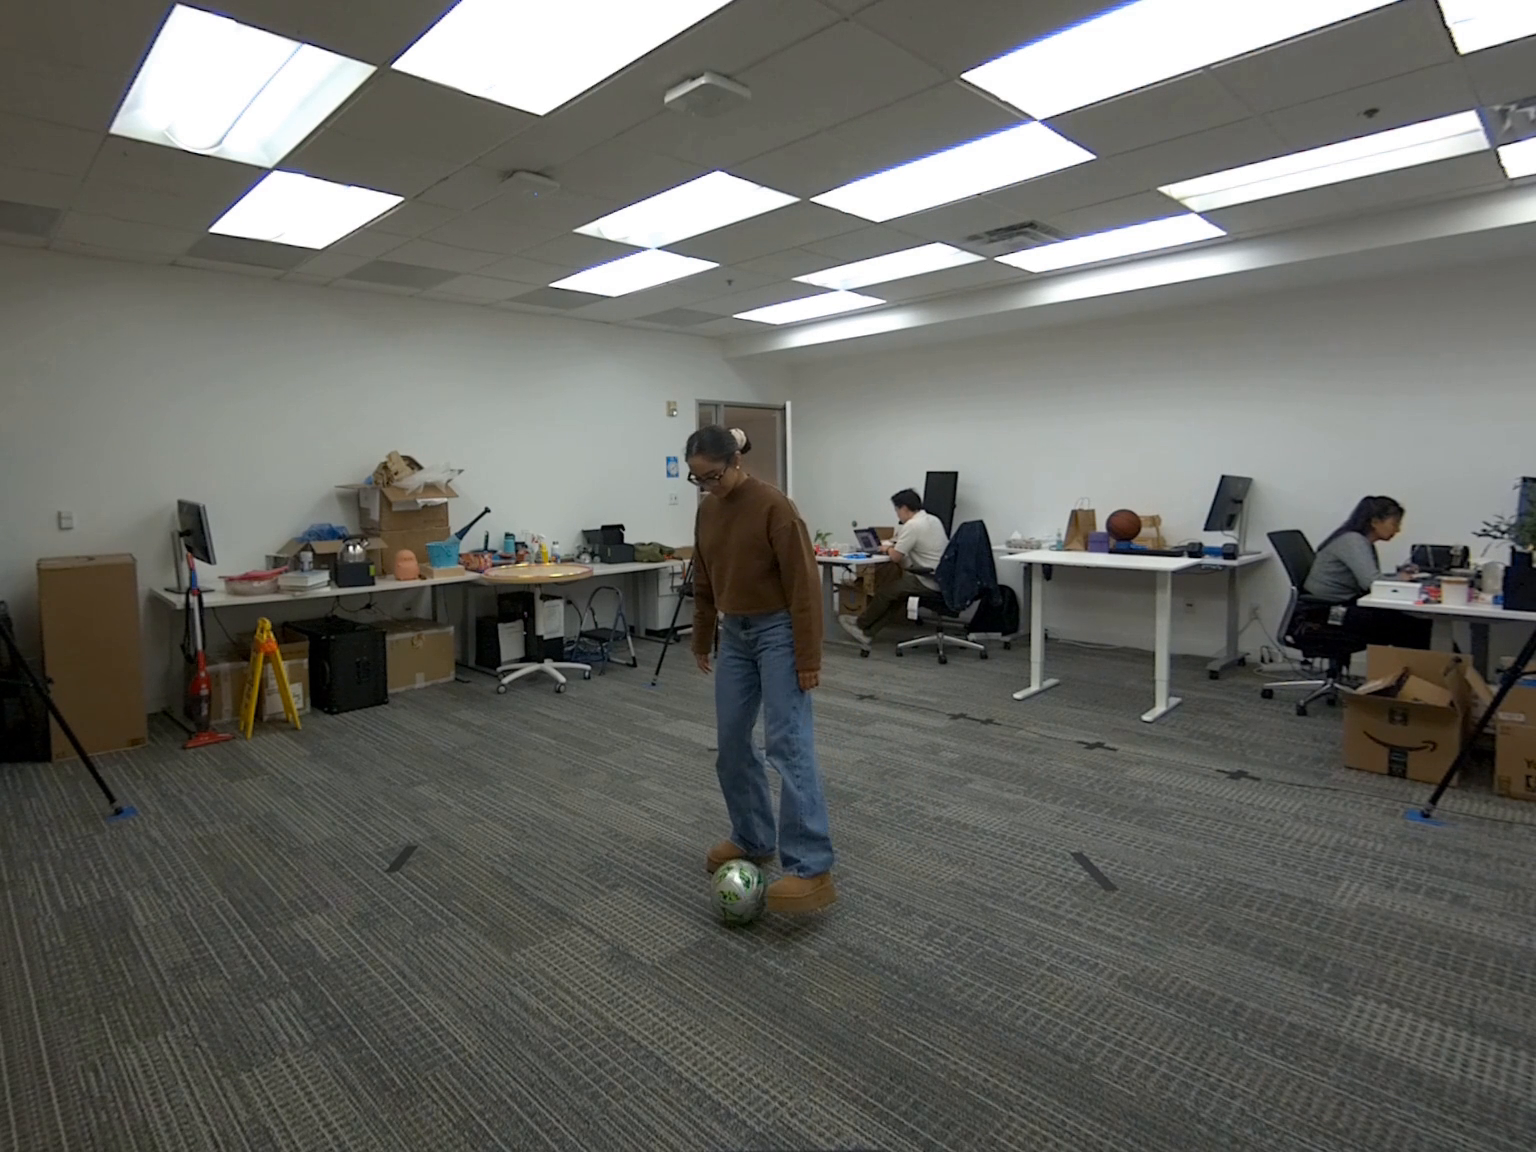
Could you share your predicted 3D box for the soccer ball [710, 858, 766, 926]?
[{"bbox_3d":[-0.092,1.005,2.706,0.187,0.187,0.188,-1,5,-2],"label":"soccer ball"}]
